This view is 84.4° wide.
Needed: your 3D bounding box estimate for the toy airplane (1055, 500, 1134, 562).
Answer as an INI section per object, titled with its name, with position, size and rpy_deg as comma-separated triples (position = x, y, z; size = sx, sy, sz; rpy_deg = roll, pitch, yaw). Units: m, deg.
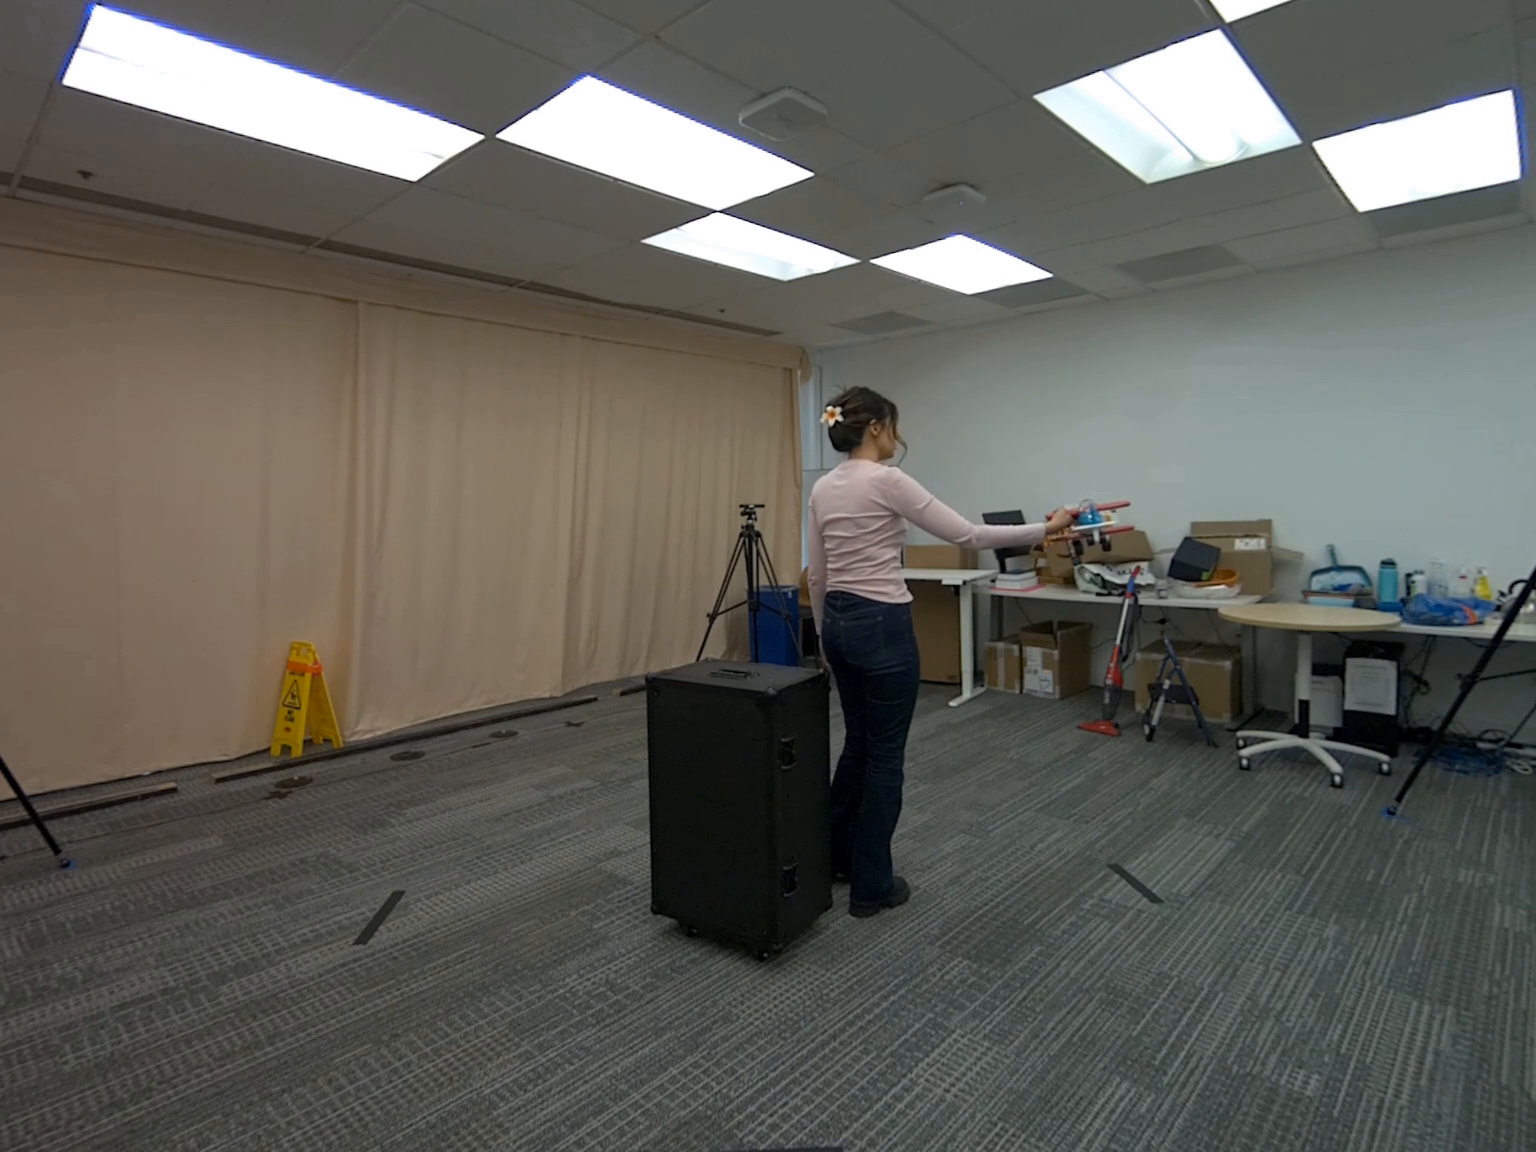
[toy airplane]
position = 1.065, -0.162, 2.679
size = 0.248, 0.158, 0.260
rpy_deg = -4, -11, -12
